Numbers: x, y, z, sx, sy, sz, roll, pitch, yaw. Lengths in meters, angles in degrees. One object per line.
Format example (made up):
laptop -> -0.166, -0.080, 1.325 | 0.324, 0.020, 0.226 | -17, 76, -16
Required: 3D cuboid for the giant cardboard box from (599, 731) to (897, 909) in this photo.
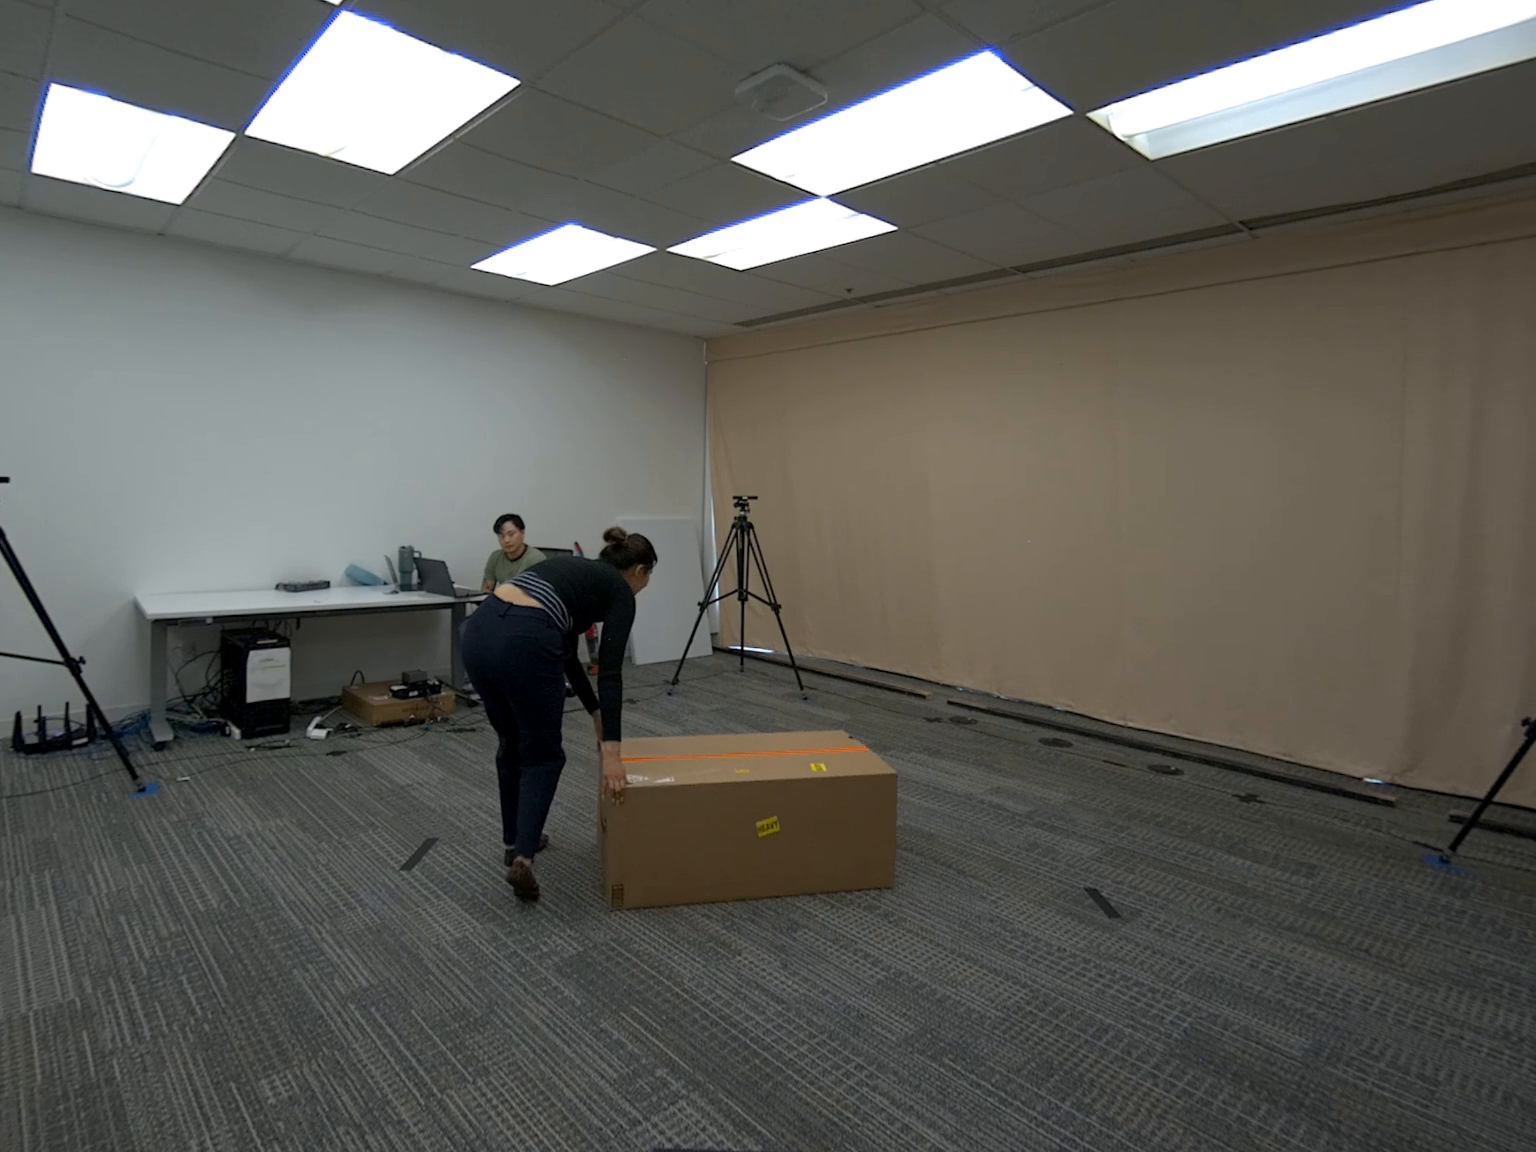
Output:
giant cardboard box -> -0.115, 0.881, 3.180 | 1.015, 0.425, 0.585 | 0, 5, -14
